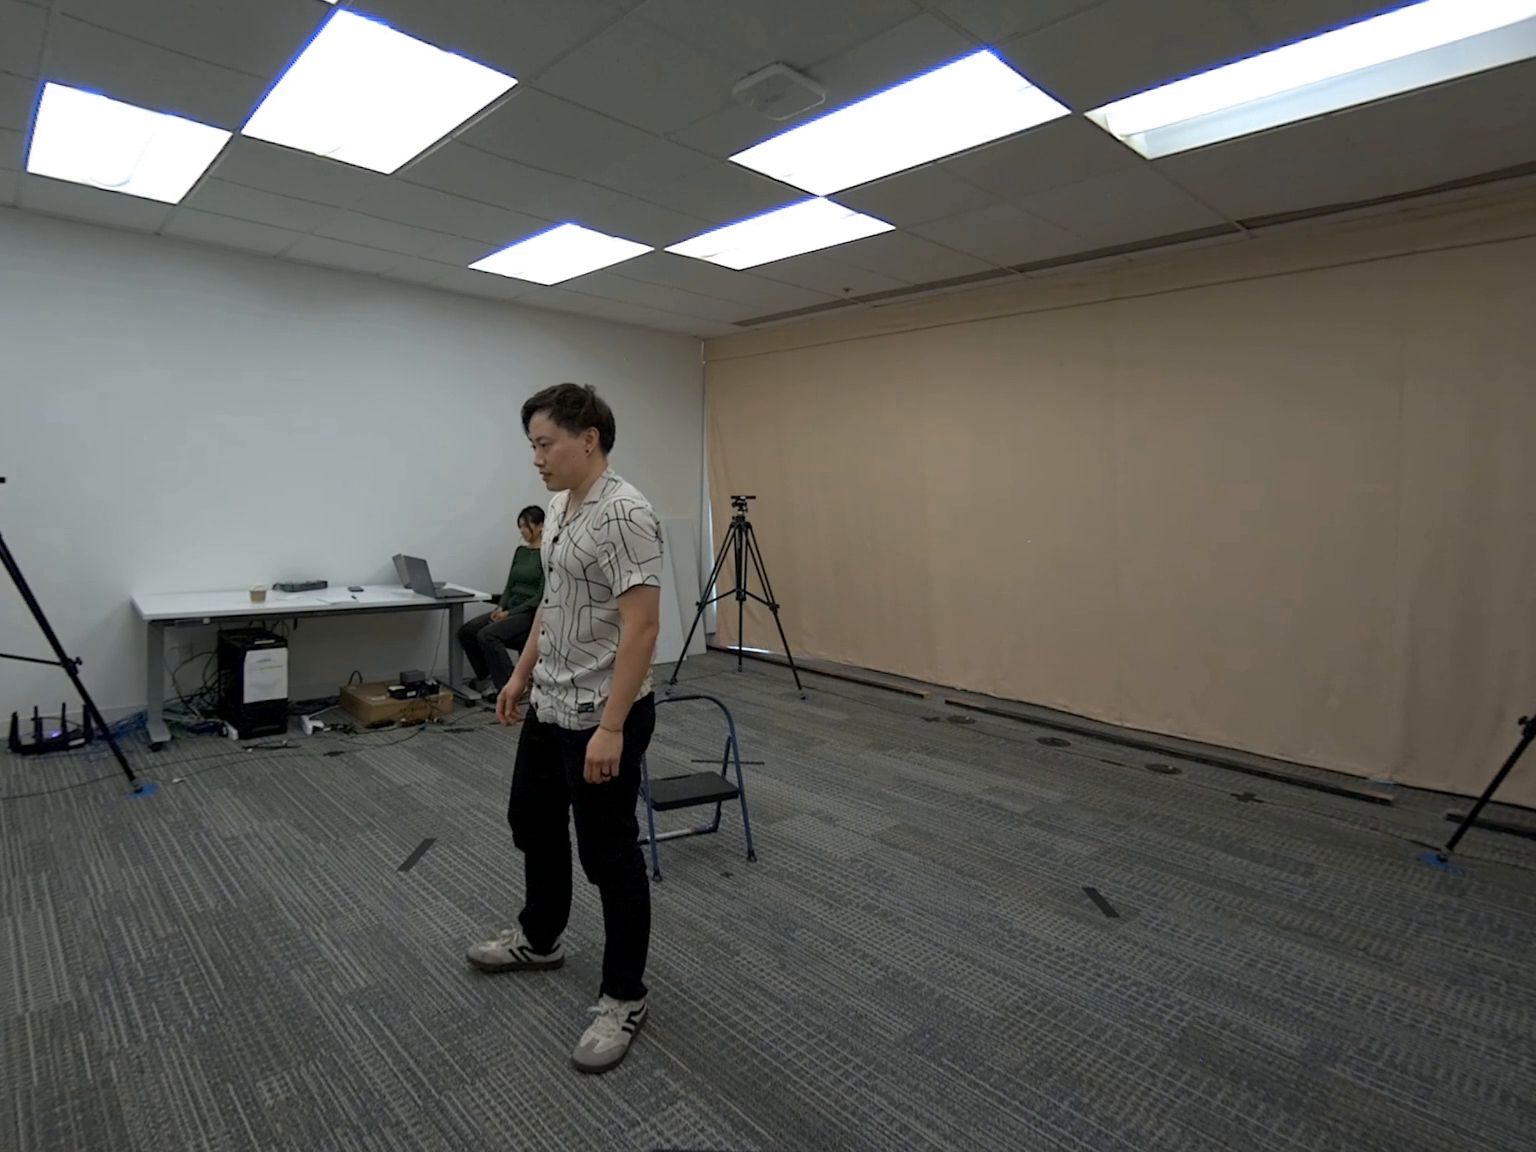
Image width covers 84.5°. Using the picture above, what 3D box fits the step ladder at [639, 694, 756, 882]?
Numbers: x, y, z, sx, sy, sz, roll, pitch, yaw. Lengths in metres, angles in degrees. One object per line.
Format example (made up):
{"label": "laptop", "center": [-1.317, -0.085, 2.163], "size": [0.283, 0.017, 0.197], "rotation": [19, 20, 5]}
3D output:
{"label": "step ladder", "center": [-0.305, 0.777, 3.268], "size": [0.422, 0.605, 0.357], "rotation": [-1, 3, -30]}
